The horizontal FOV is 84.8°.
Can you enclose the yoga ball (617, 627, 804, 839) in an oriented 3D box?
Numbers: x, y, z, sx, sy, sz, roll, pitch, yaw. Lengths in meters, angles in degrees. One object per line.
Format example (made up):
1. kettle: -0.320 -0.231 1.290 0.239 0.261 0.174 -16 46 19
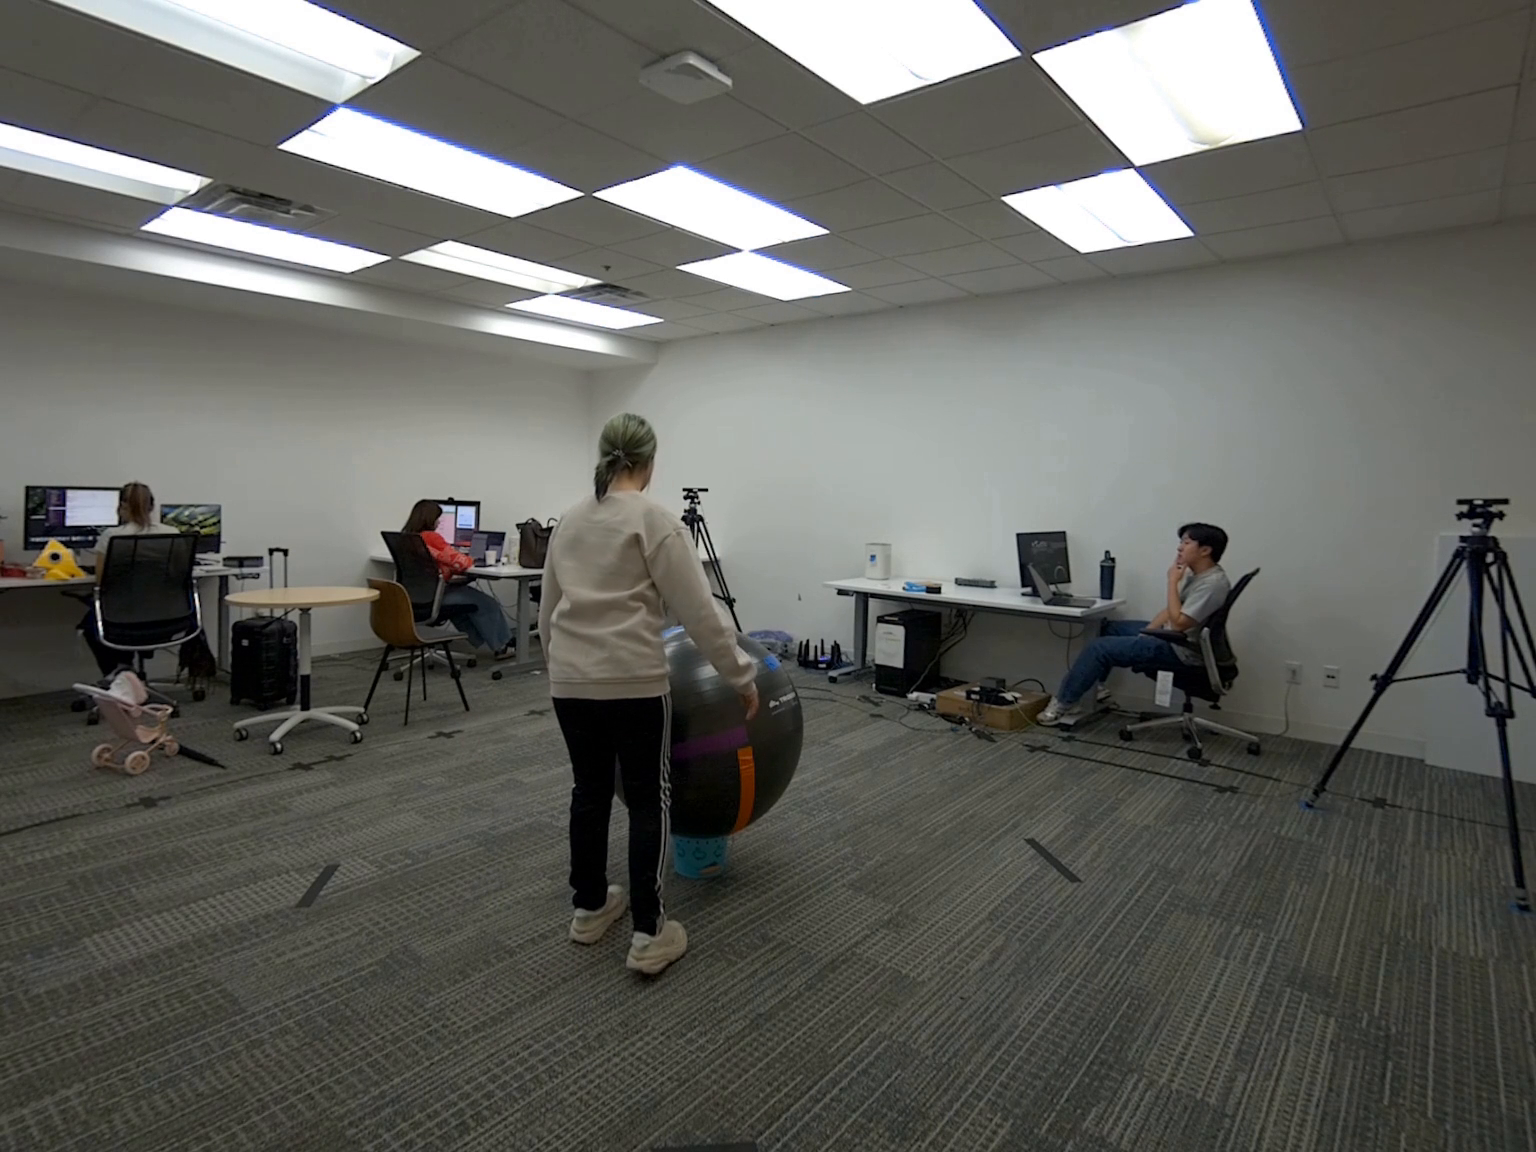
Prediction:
1. yoga ball: -0.253 0.555 3.107 0.757 0.755 0.762 1 4 -2
